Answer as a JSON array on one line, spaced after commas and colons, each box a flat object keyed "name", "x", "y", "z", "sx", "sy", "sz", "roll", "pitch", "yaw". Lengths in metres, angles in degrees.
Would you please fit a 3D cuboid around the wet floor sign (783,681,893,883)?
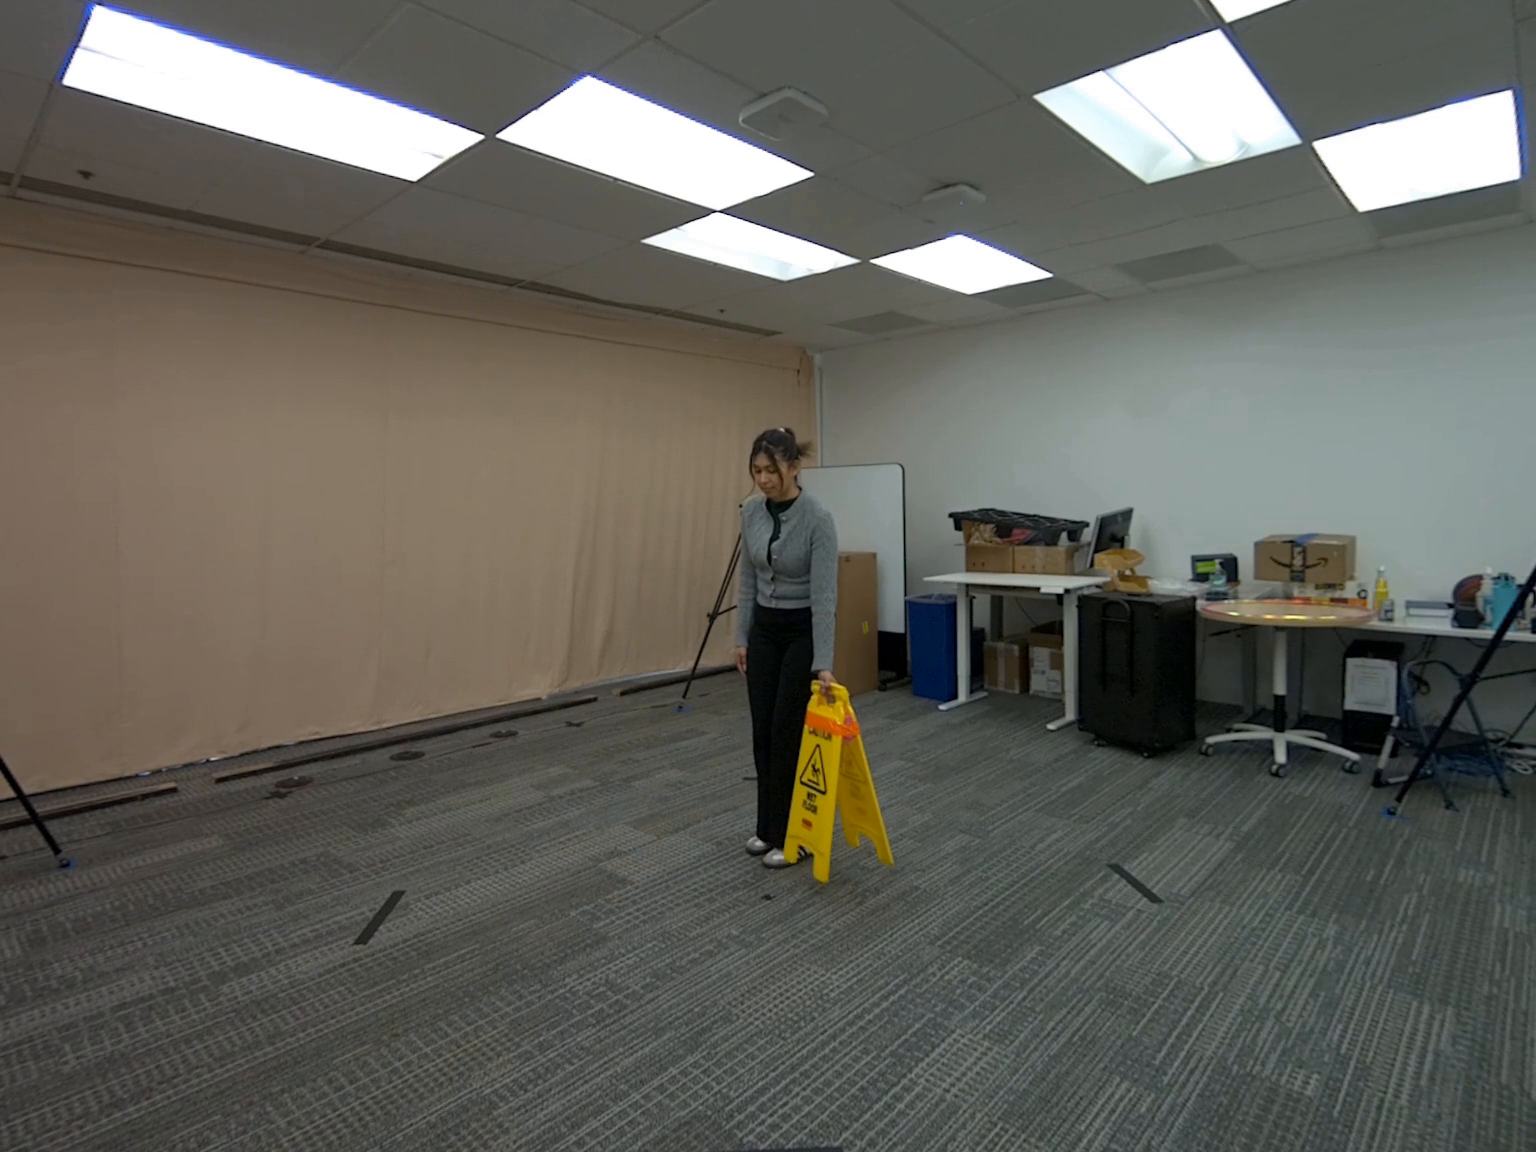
[{"name": "wet floor sign", "x": 0.235, "y": 0.708, "z": 3.024, "sx": 0.282, "sy": 0.646, "sz": 0.290, "roll": -4, "pitch": 1, "yaw": -29}]
